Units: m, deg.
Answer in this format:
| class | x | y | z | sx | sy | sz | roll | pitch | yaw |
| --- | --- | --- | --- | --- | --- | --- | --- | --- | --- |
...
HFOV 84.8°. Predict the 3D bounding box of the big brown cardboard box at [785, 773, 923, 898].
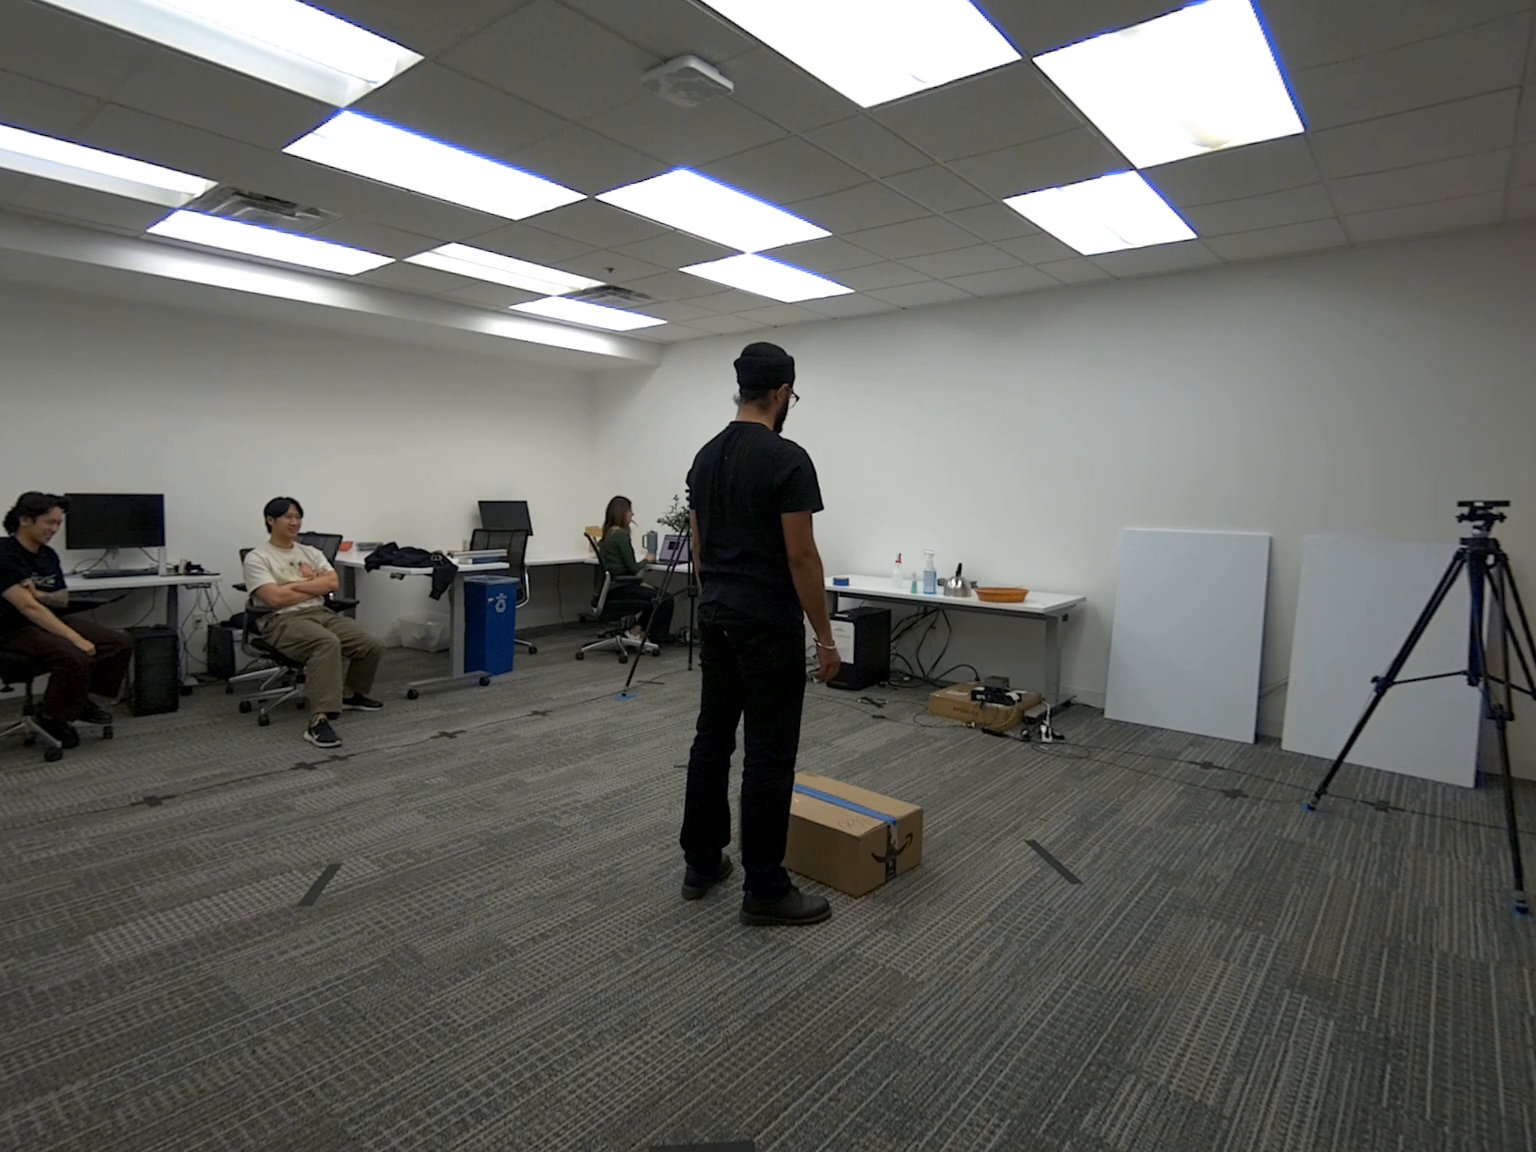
| class | x | y | z | sx | sy | sz | roll | pitch | yaw |
| --- | --- | --- | --- | --- | --- | --- | --- | --- | --- |
| big brown cardboard box | 0.221 | 0.962 | 3.251 | 0.610 | 0.232 | 0.405 | 8 | 8 | 41 |
